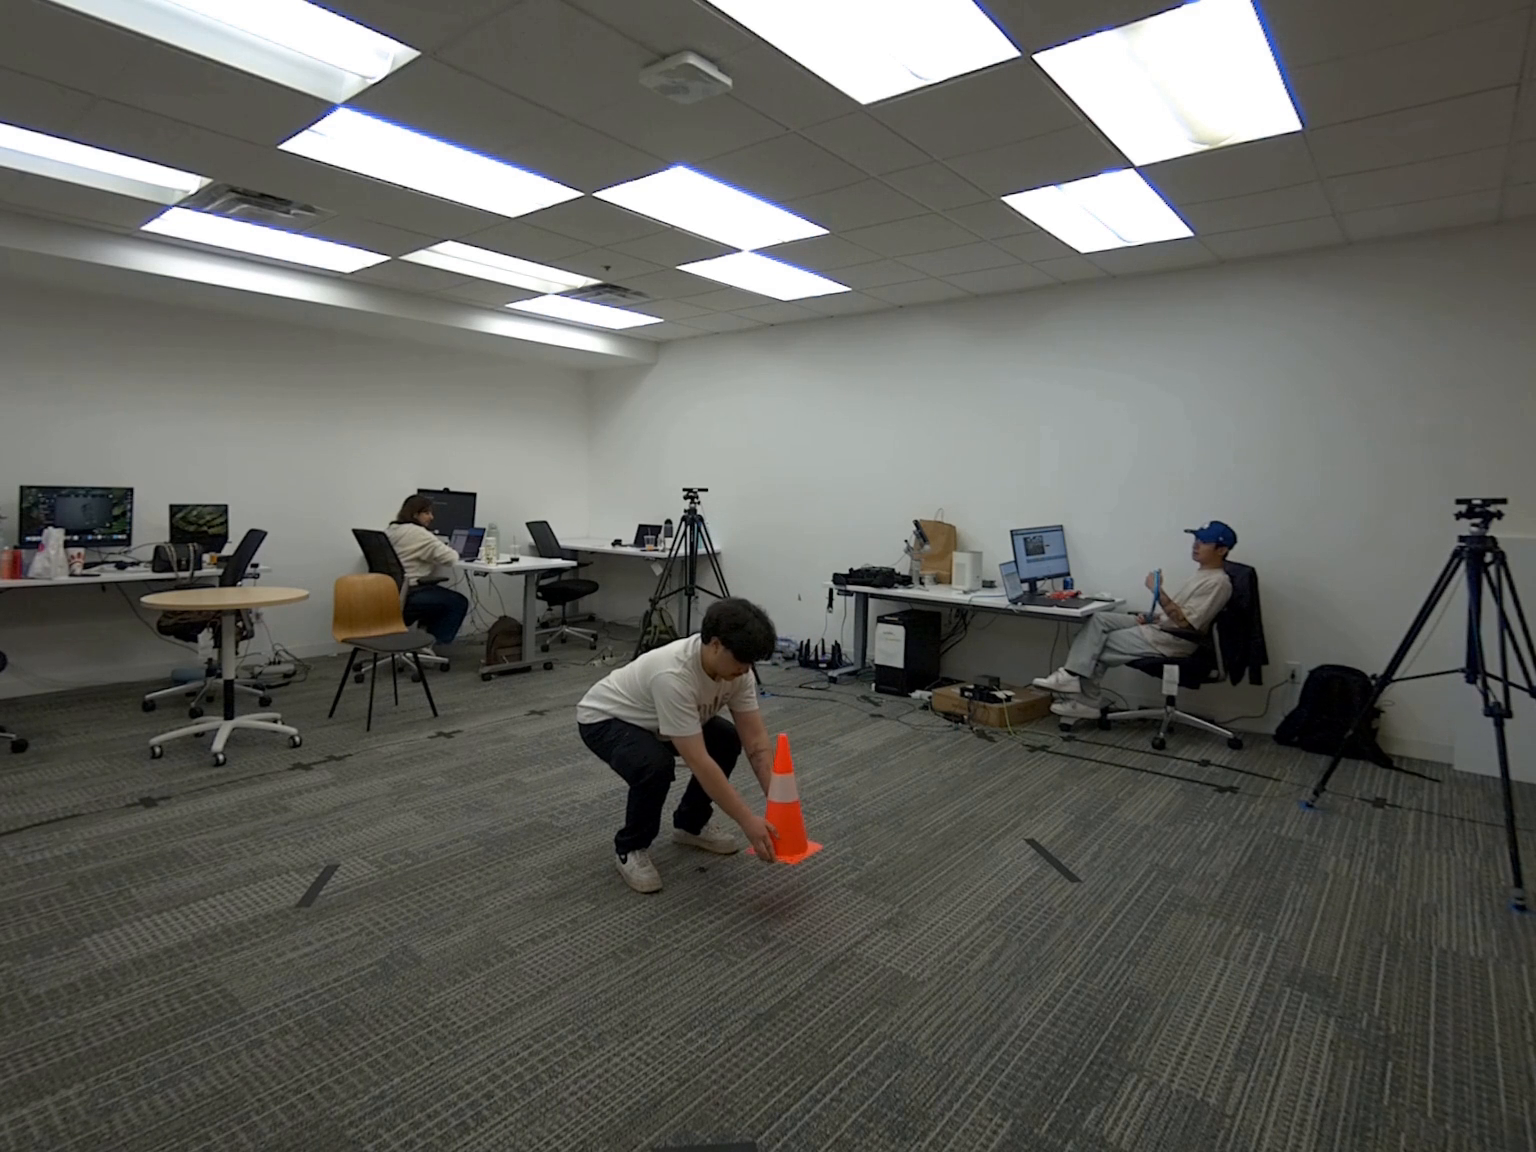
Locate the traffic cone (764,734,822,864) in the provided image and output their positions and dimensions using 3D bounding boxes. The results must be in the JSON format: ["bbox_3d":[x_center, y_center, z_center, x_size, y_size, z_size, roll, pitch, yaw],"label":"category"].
[{"bbox_3d":[0.042,0.720,2.856,0.209,0.383,0.199,0,1,29],"label":"traffic cone"}]
